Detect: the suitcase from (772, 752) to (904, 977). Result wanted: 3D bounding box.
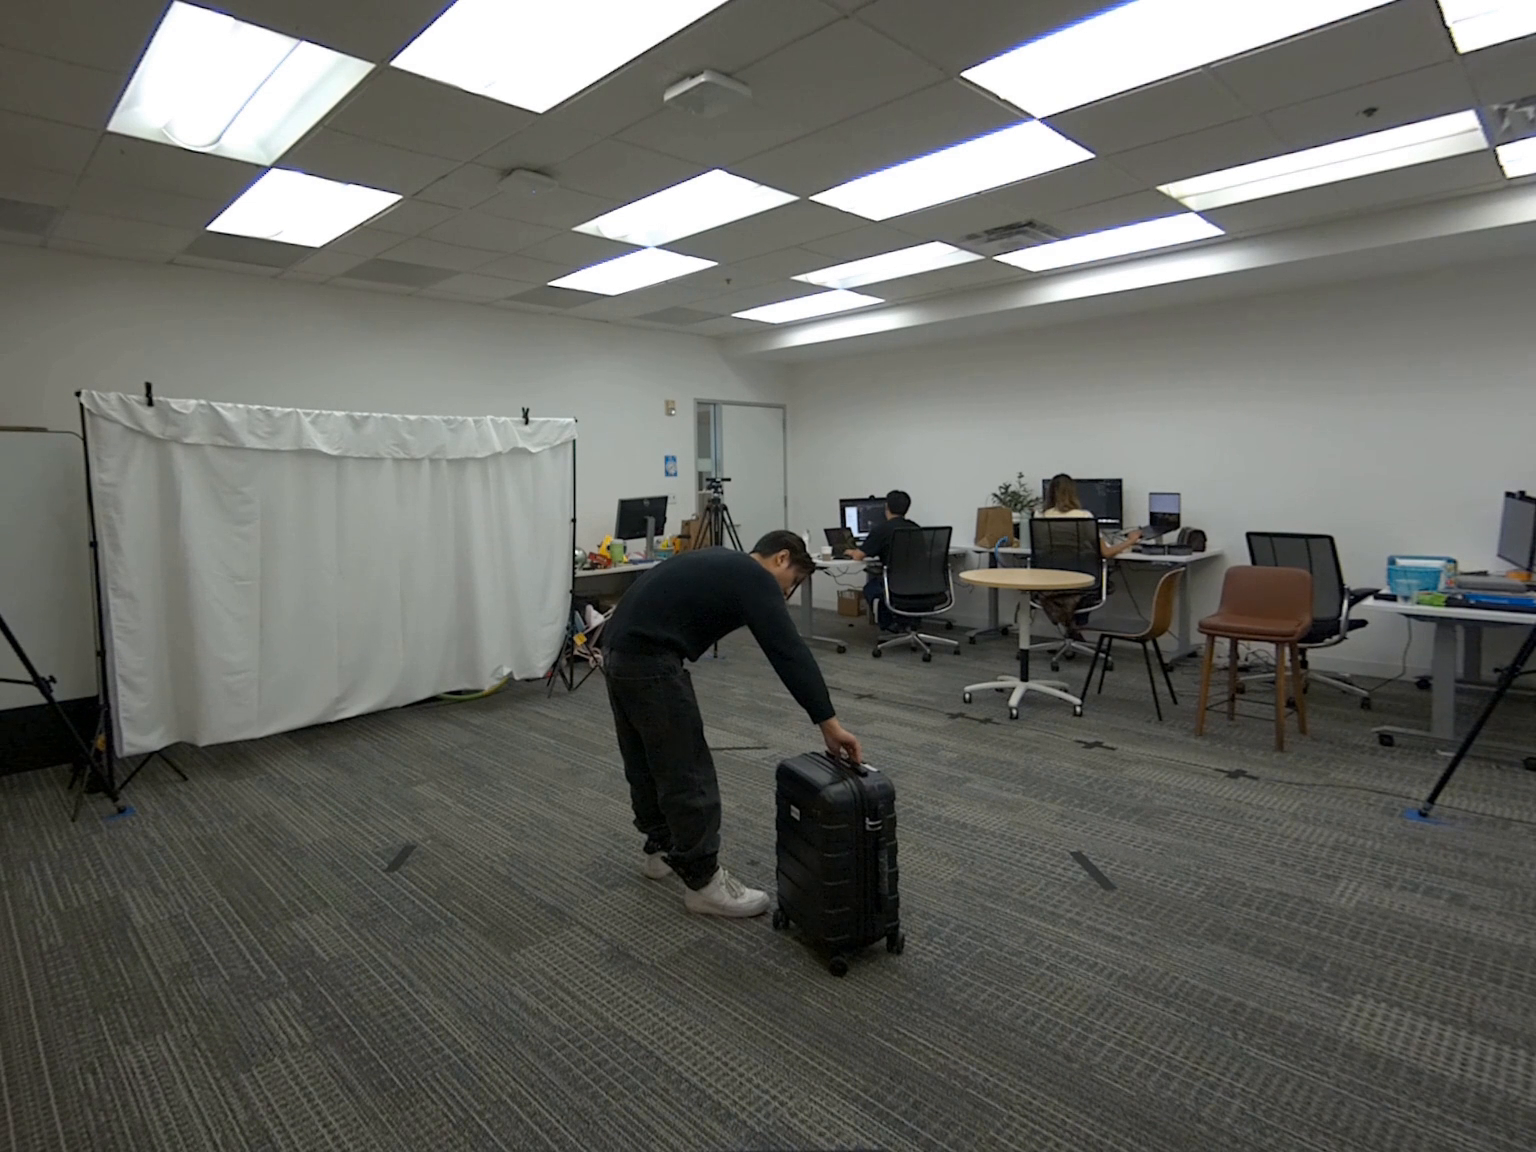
[{"bbox_3d":[0.209,0.825,2.557,0.243,0.547,0.385,-4,5,-25],"label":"suitcase"}]
